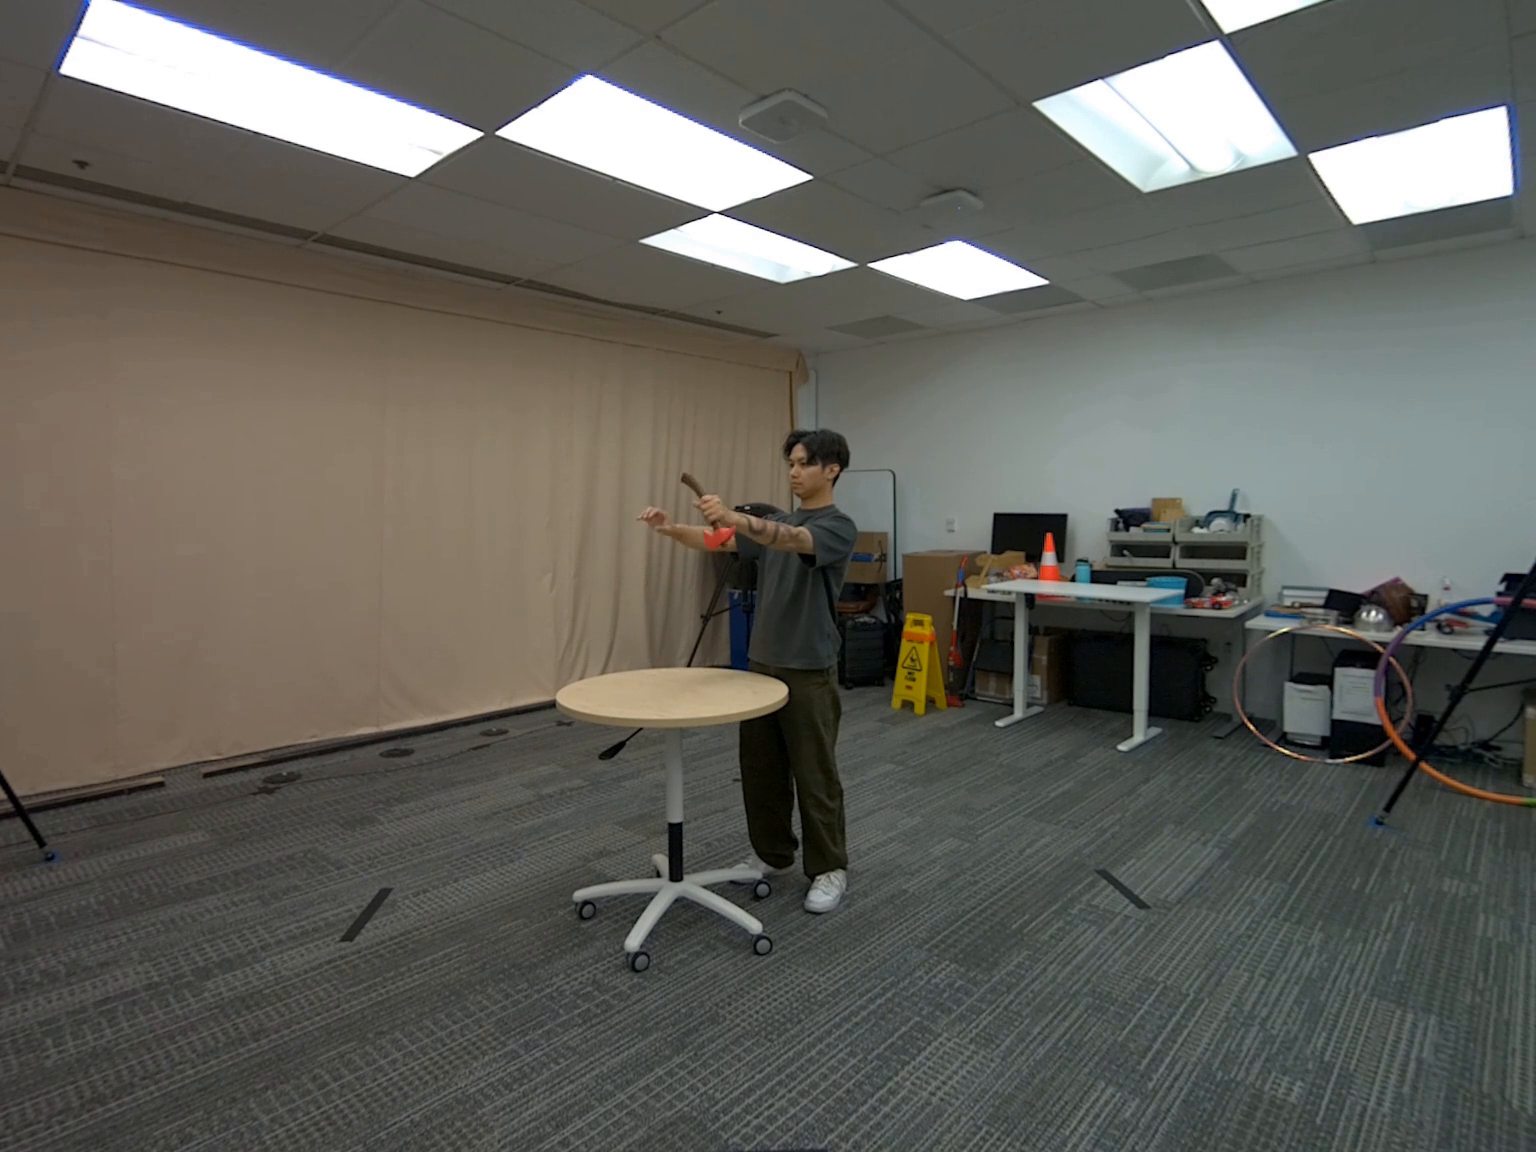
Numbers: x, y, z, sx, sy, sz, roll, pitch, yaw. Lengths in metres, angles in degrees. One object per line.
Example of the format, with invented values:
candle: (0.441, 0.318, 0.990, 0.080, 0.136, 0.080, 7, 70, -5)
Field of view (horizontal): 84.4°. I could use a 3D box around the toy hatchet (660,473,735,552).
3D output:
toy hatchet: (-0.196, -0.183, 2.584, 0.029, 0.131, 0.278, -7, 50, -45)
